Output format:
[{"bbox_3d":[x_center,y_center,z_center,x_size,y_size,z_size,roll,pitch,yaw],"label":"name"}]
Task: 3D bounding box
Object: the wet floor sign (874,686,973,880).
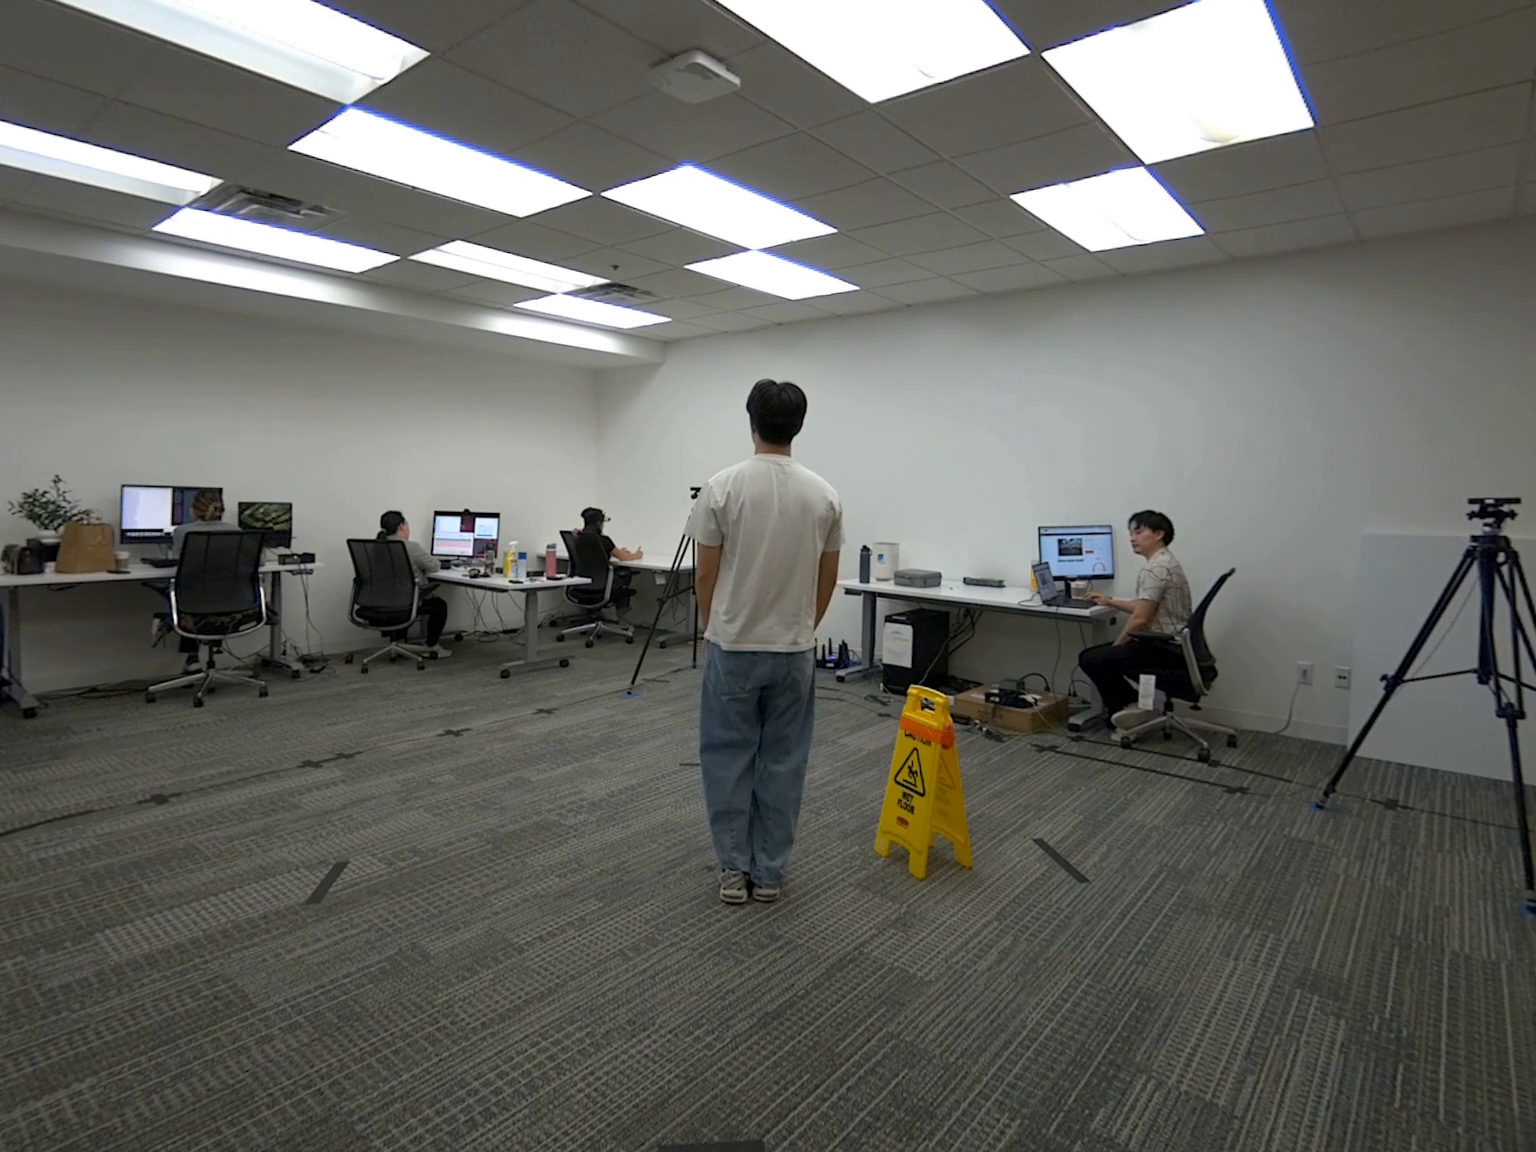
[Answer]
[{"bbox_3d":[0.588,0.745,3.216,0.282,0.644,0.290,0,3,-29],"label":"wet floor sign"}]
